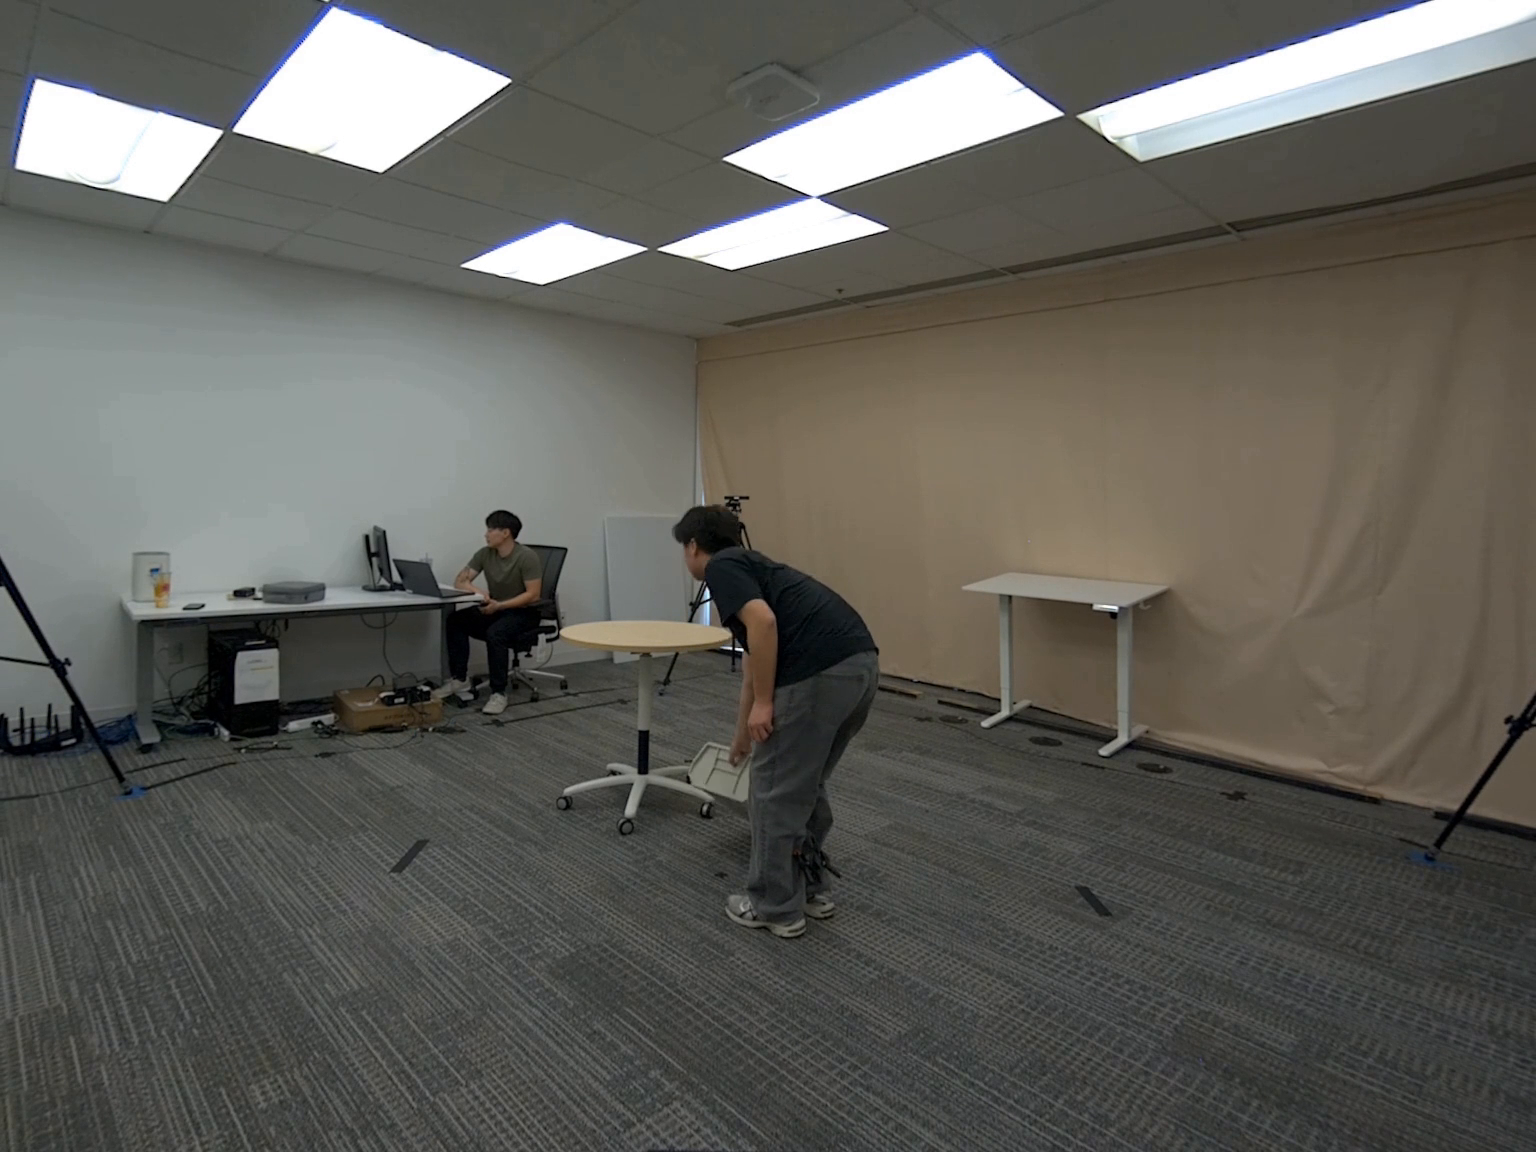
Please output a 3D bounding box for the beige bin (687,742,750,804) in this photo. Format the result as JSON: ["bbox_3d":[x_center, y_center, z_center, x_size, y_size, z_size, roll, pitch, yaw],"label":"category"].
[{"bbox_3d":[-0.046,0.840,3.286,0.386,0.190,0.410,1,-32,50],"label":"beige bin"}]
